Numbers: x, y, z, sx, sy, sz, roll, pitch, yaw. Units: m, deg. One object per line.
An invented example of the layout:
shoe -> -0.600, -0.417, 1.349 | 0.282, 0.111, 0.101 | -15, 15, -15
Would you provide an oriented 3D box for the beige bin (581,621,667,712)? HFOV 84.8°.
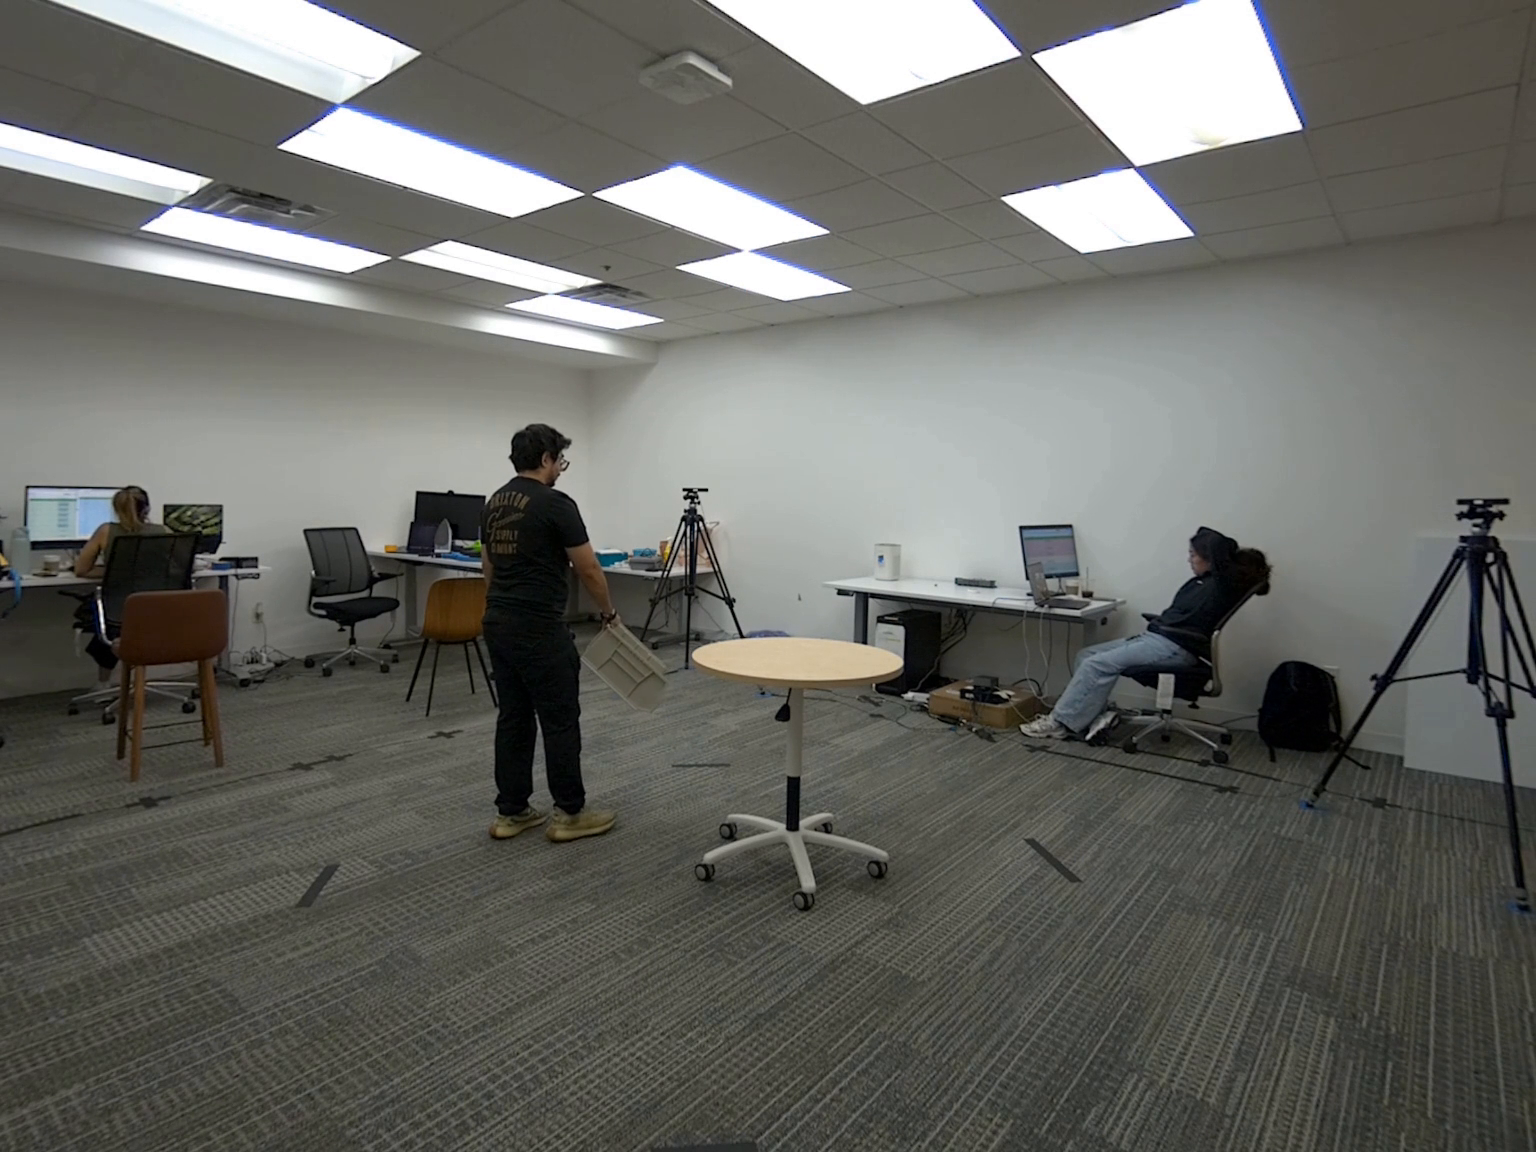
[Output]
beige bin -> -0.614, 0.382, 3.663 | 0.375, 0.189, 0.425 | 43, -1, -6
